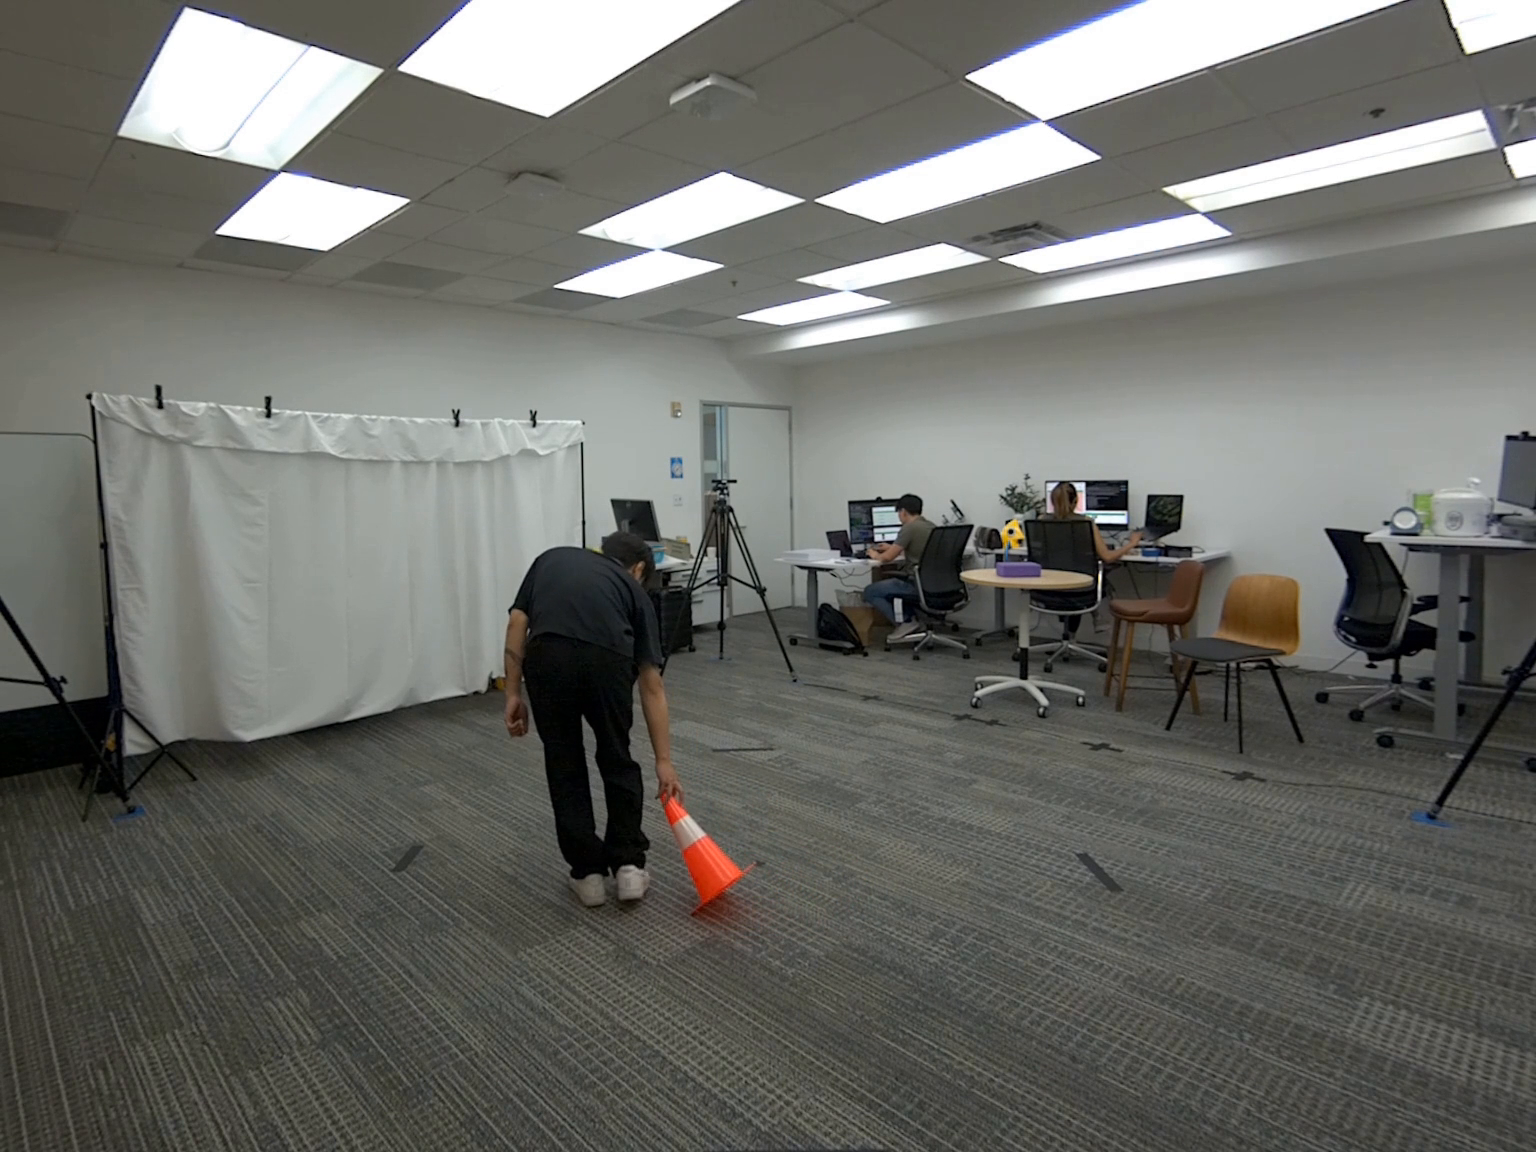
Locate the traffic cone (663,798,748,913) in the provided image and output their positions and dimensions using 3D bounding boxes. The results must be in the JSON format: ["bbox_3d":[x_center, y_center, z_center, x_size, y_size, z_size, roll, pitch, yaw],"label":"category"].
[{"bbox_3d":[-0.257,0.874,2.847,0.205,0.392,0.199,-47,-19,28],"label":"traffic cone"}]
